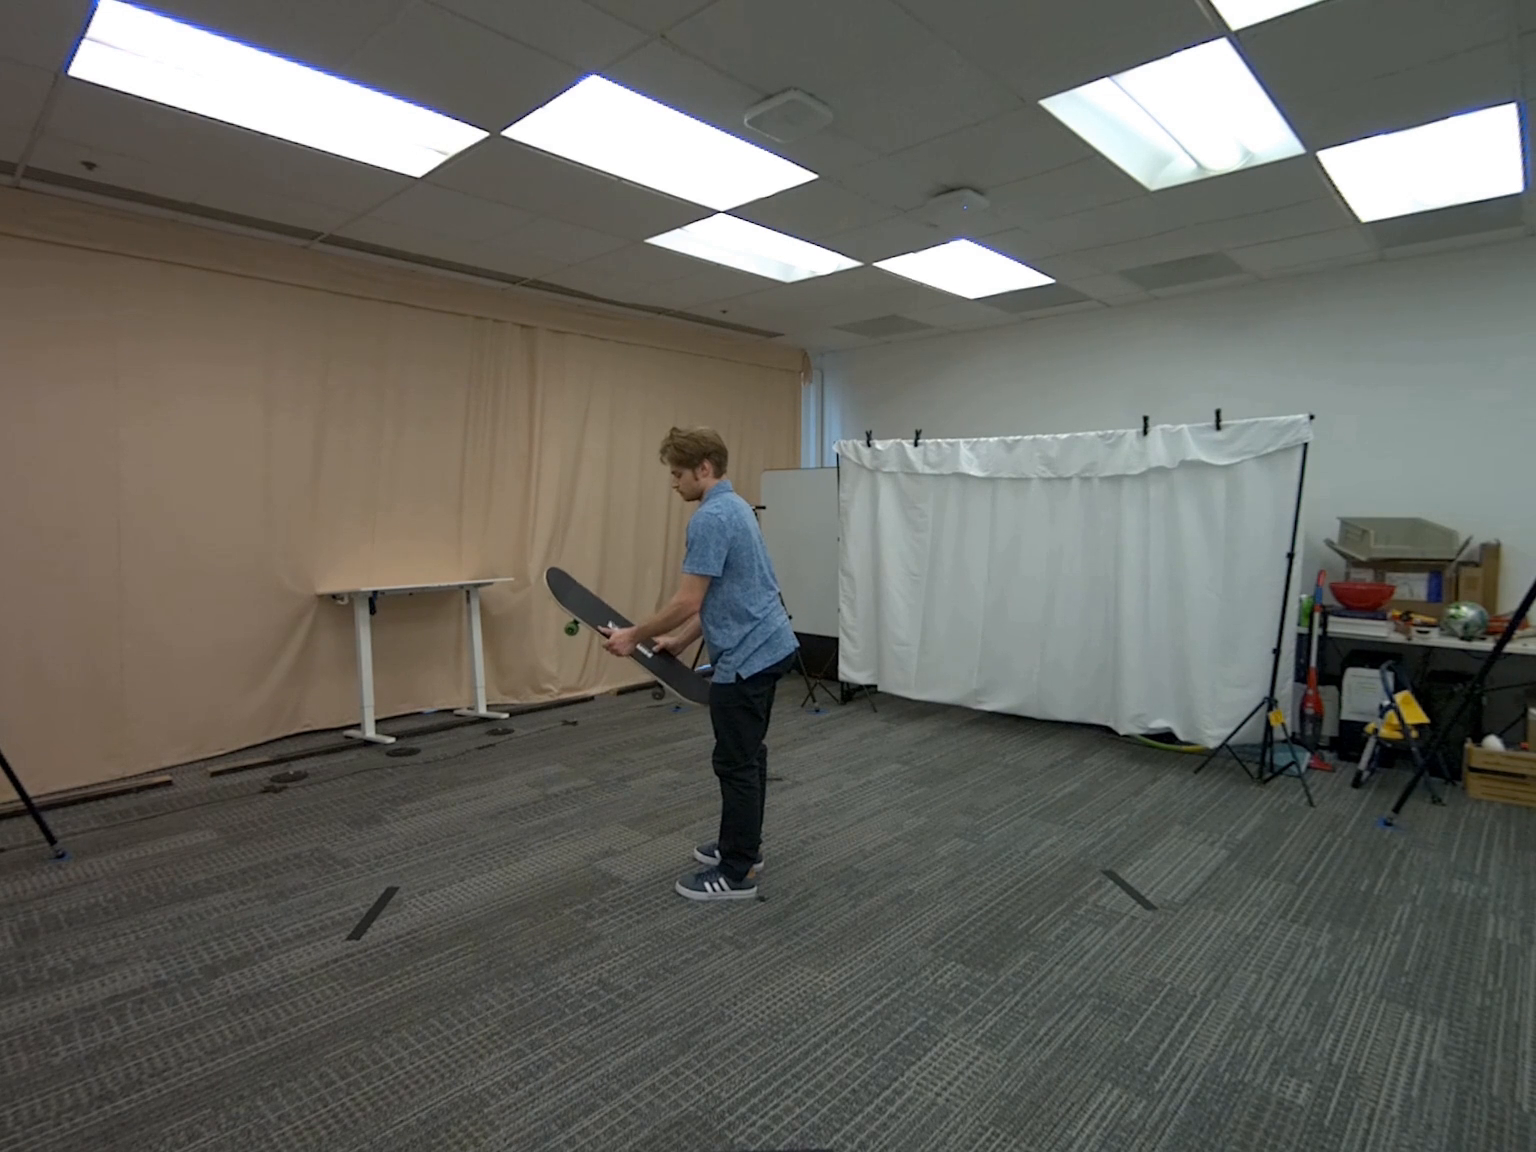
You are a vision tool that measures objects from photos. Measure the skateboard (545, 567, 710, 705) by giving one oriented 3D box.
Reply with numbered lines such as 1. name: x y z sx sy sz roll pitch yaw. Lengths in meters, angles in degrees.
1. skateboard: -0.525 0.260 3.088 0.773 0.111 0.195 38 24 -12
